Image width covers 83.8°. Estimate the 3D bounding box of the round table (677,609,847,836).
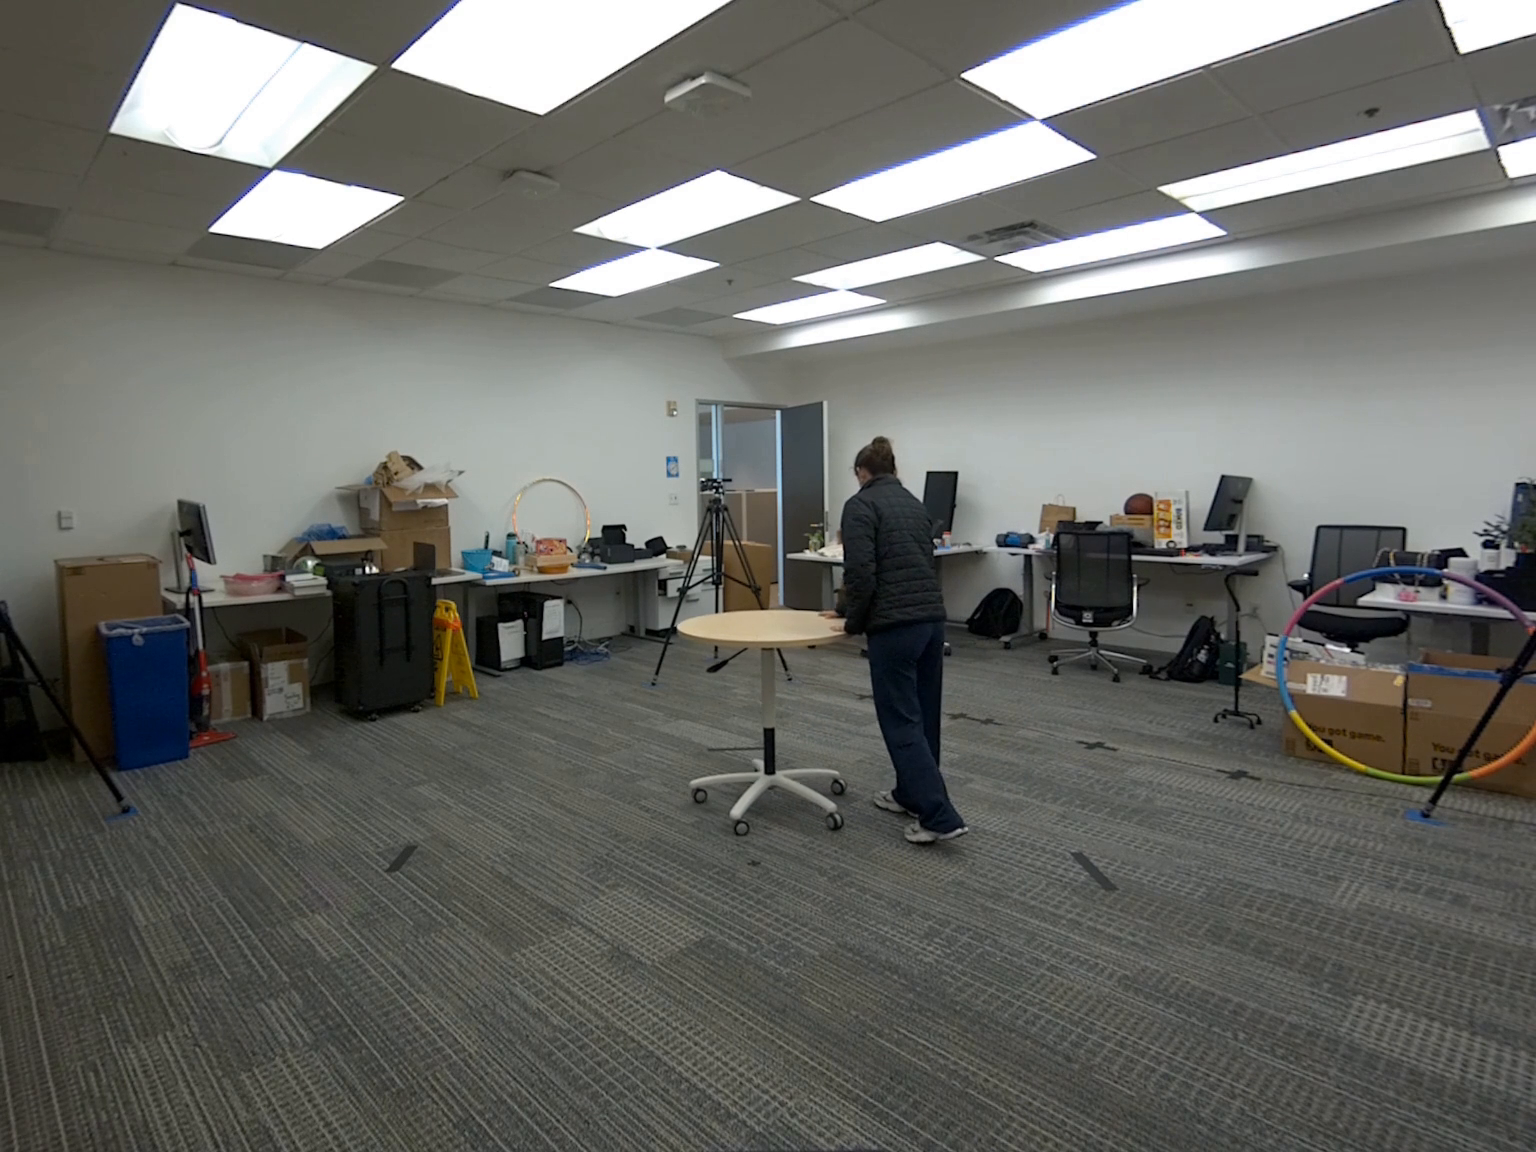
[{"bbox_3d":[0.016,0.588,3.650,0.784,0.783,0.789,-1,5,-2],"label":"round table"}]
